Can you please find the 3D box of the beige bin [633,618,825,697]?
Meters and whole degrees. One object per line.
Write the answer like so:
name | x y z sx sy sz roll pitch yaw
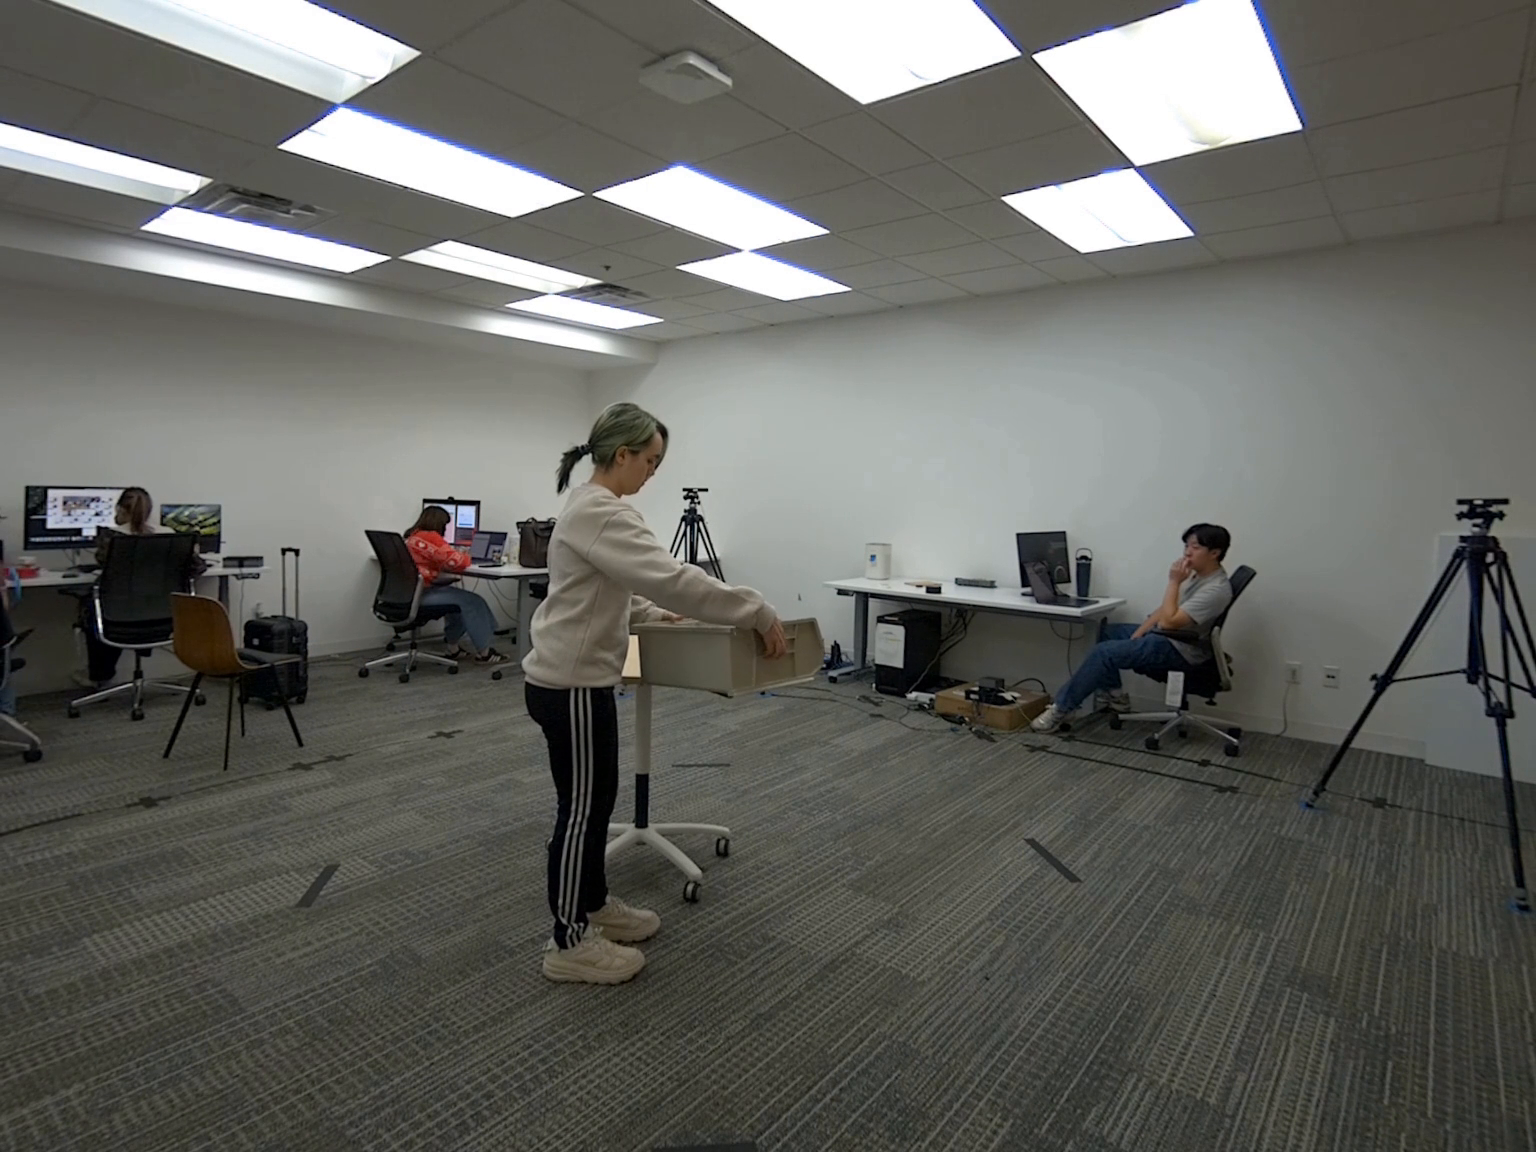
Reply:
beige bin | -0.125 0.220 2.465 0.366 0.189 0.435 -6 3 -44
